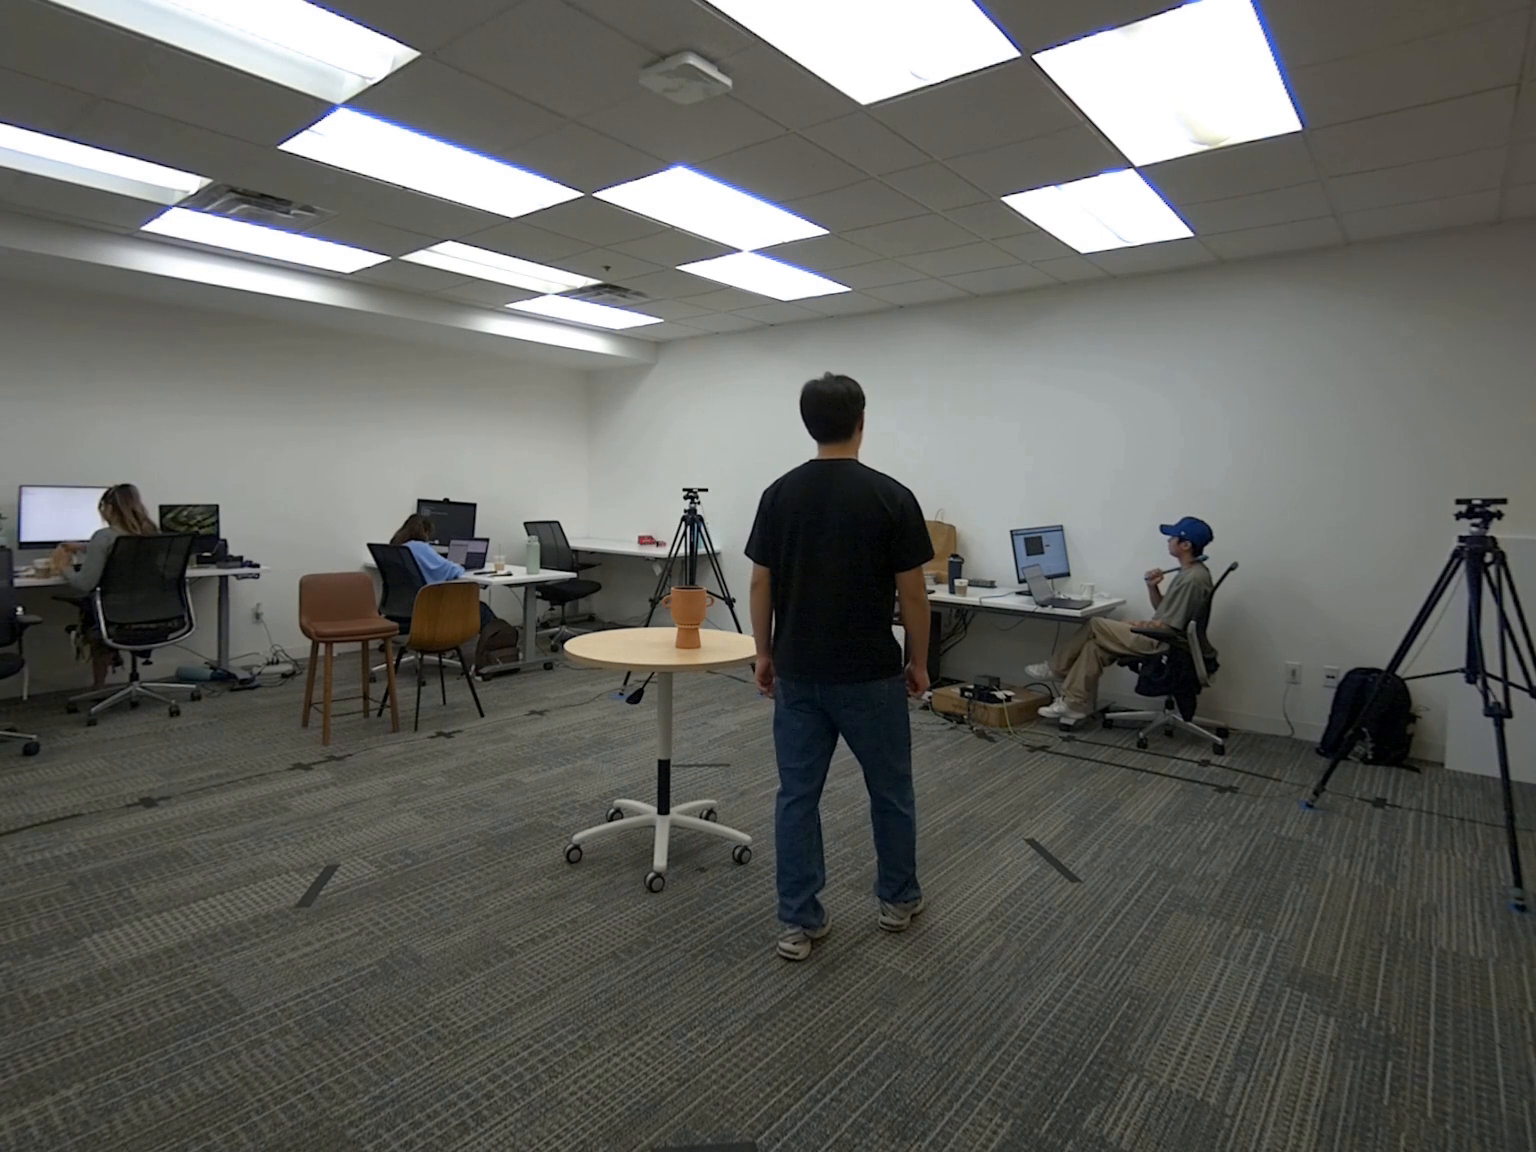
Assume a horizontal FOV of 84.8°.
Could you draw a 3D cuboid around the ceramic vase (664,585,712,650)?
[{"bbox_3d":[-0.311,0.153,3.186,0.163,0.219,0.132,3,5,23],"label":"ceramic vase"}]
